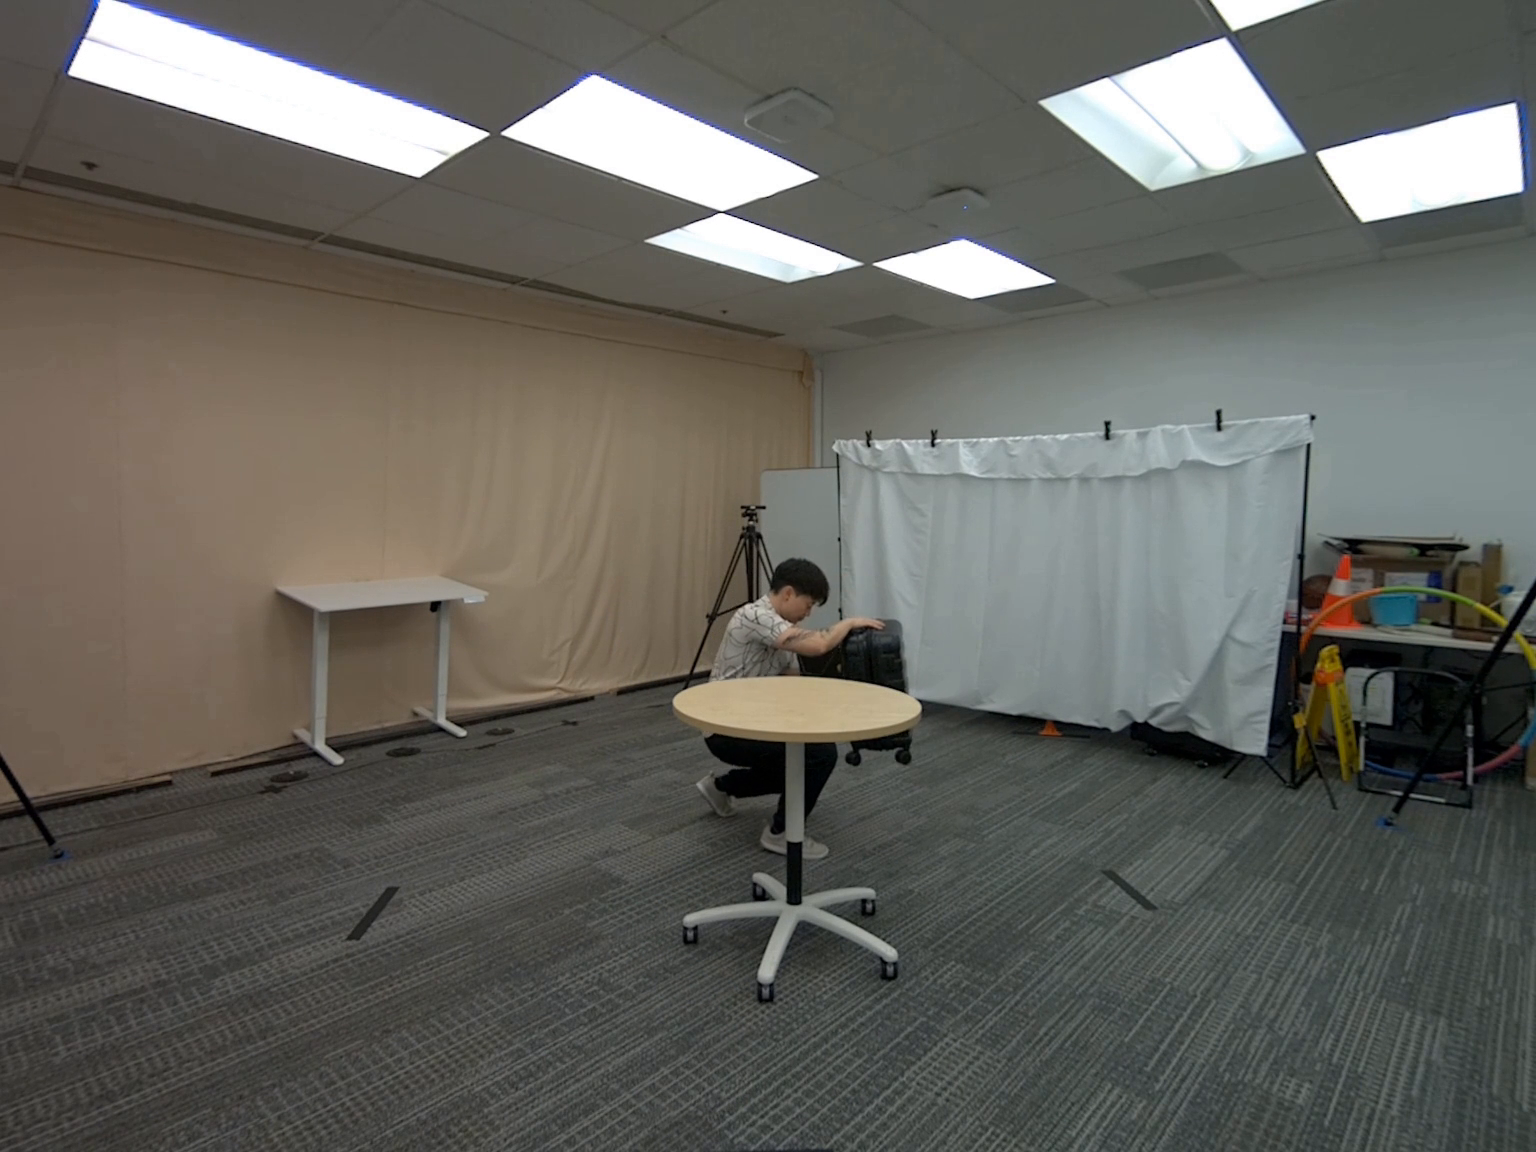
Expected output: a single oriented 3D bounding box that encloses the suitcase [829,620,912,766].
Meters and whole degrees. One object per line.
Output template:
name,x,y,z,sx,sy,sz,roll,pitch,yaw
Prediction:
suitcase,0.460,0.465,3.536,0.252,0.547,0.372,-4,7,13
